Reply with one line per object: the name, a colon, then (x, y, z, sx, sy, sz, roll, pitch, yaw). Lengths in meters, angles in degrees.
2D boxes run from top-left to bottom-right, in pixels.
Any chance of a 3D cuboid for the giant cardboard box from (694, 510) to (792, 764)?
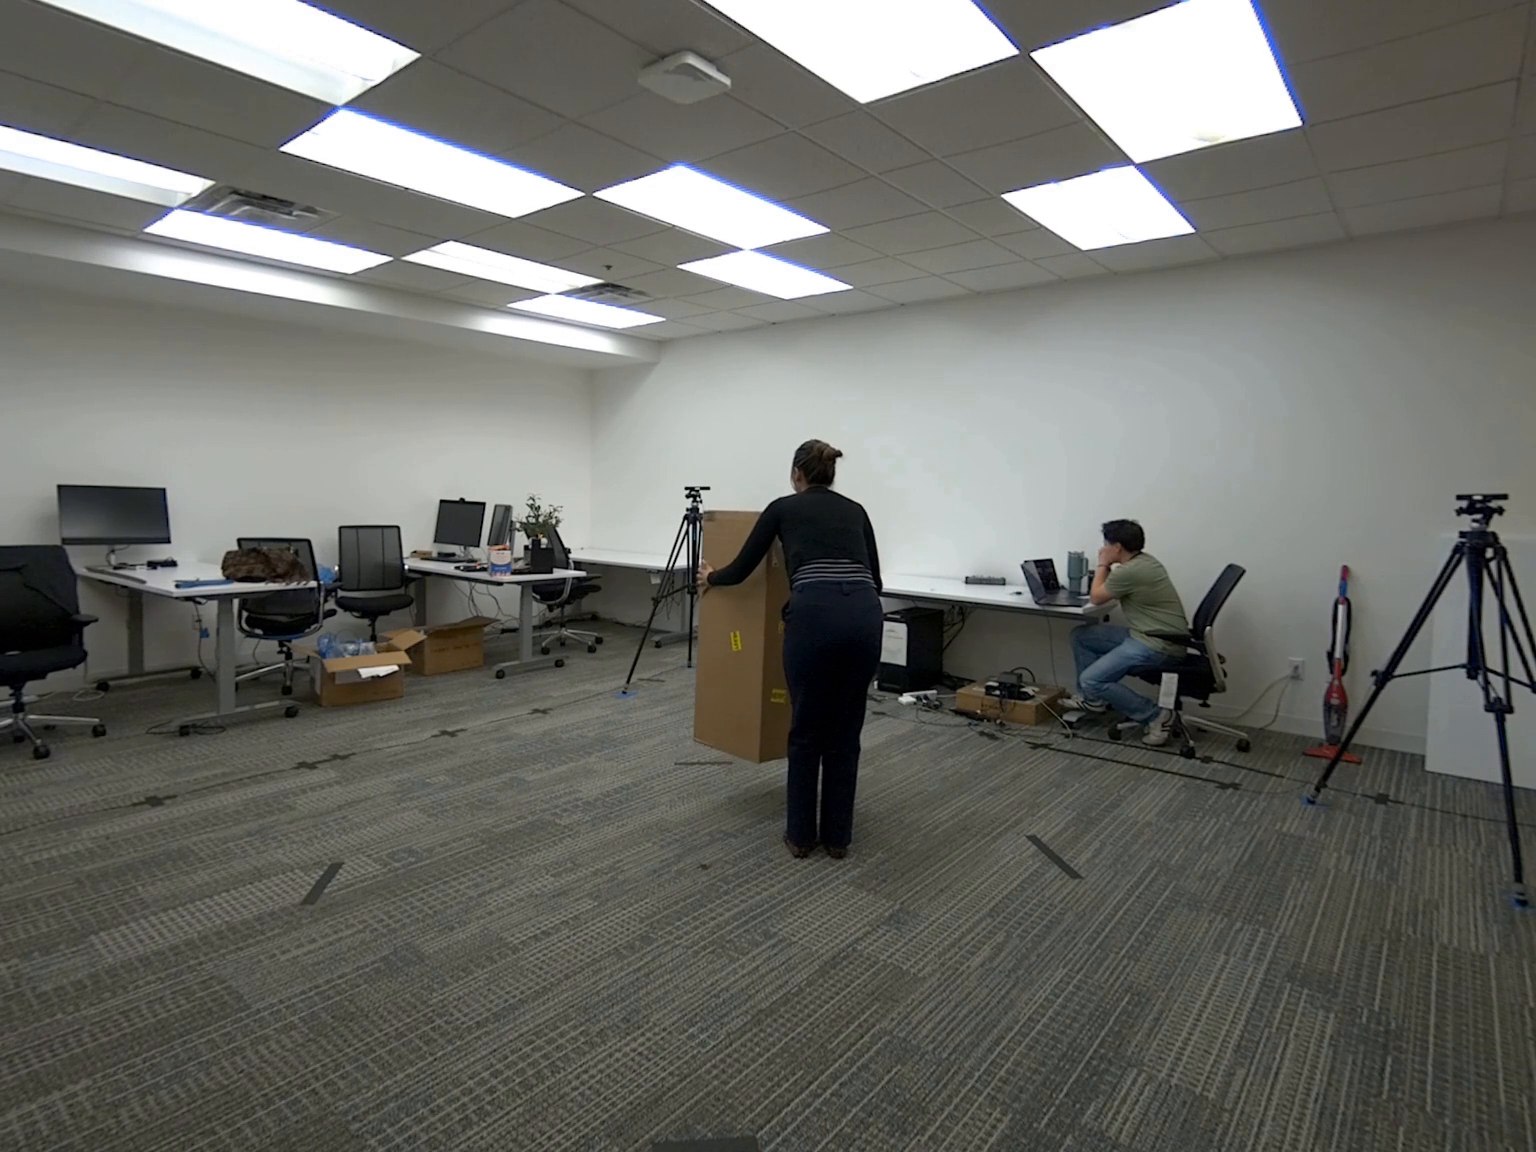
giant cardboard box: (0.028, 0.229, 3.782, 0.559, 1.025, 0.440, 0, 2, -44)
